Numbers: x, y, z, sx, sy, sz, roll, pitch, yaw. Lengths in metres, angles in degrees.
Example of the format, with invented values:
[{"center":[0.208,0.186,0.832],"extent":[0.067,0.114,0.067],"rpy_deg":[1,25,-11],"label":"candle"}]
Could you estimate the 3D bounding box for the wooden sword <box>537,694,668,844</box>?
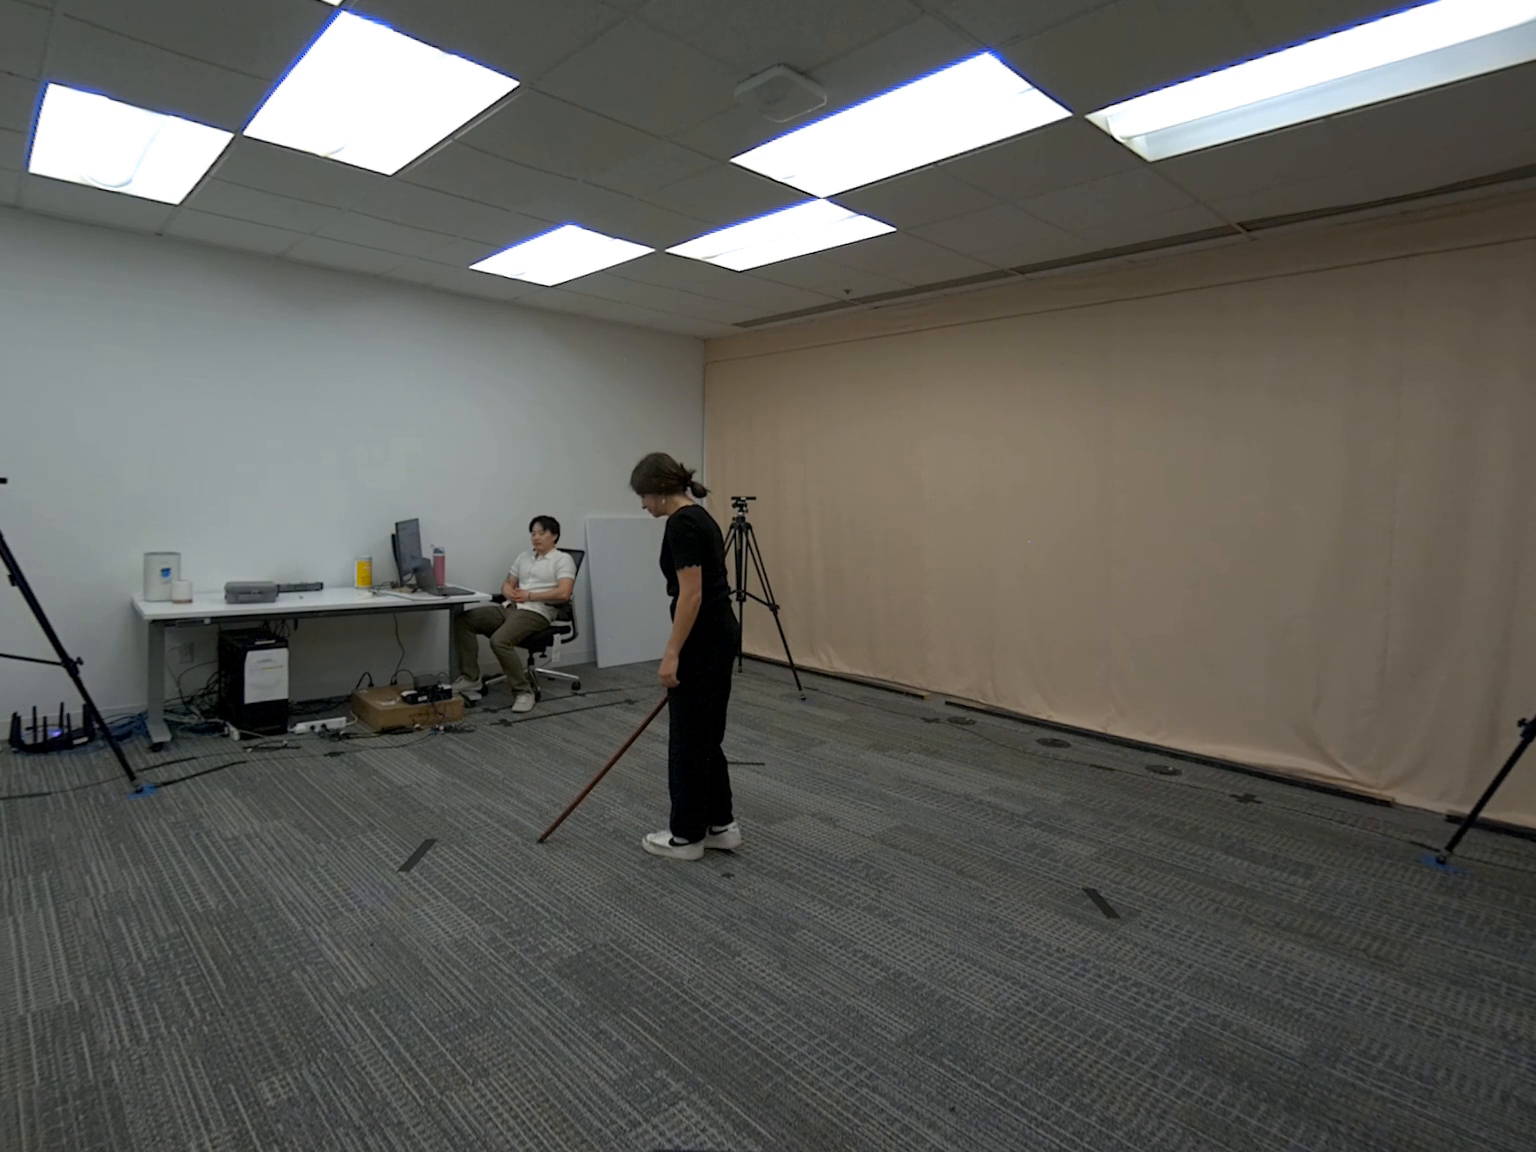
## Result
[{"center":[-0.586,0.686,3.430],"extent":[0.051,1.025,0.024],"rpy_deg":[42,-10,-6],"label":"wooden sword"}]
